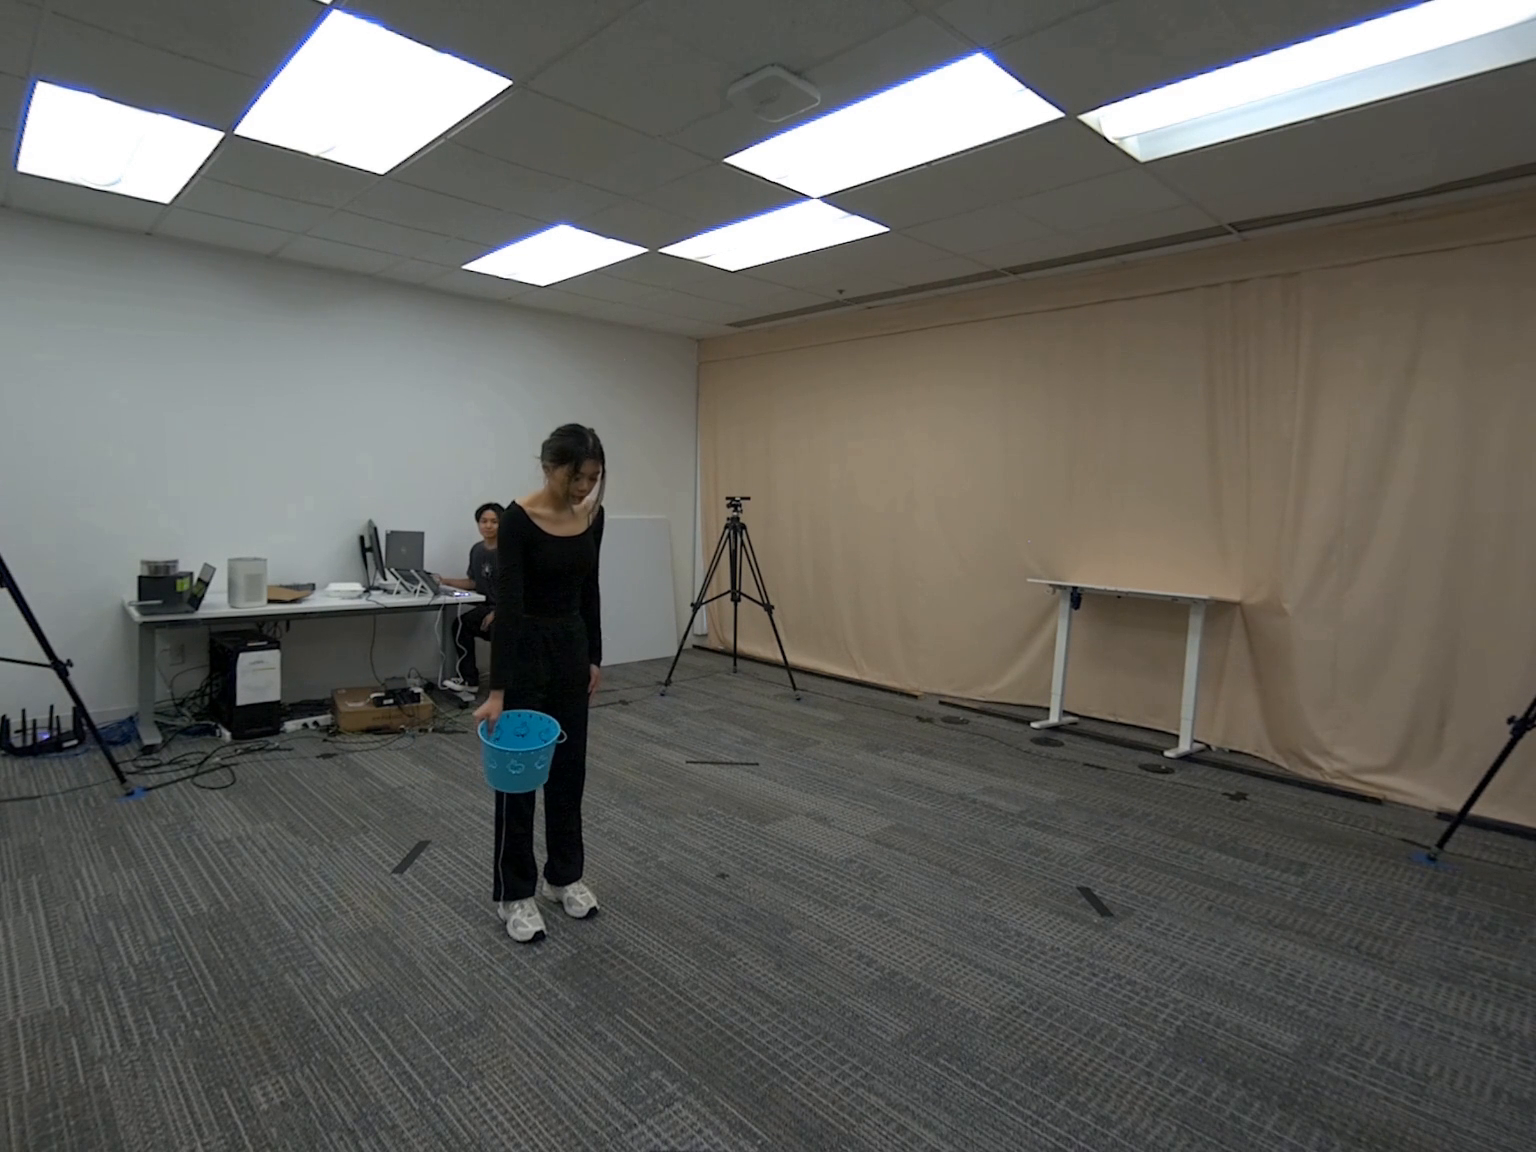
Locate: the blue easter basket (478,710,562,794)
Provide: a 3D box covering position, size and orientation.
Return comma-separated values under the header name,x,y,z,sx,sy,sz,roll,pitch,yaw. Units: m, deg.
name,x,y,z,sx,sy,sz,roll,pitch,yaw
blue easter basket,-0.747,0.523,2.426,0.243,0.154,0.246,7,15,-3
